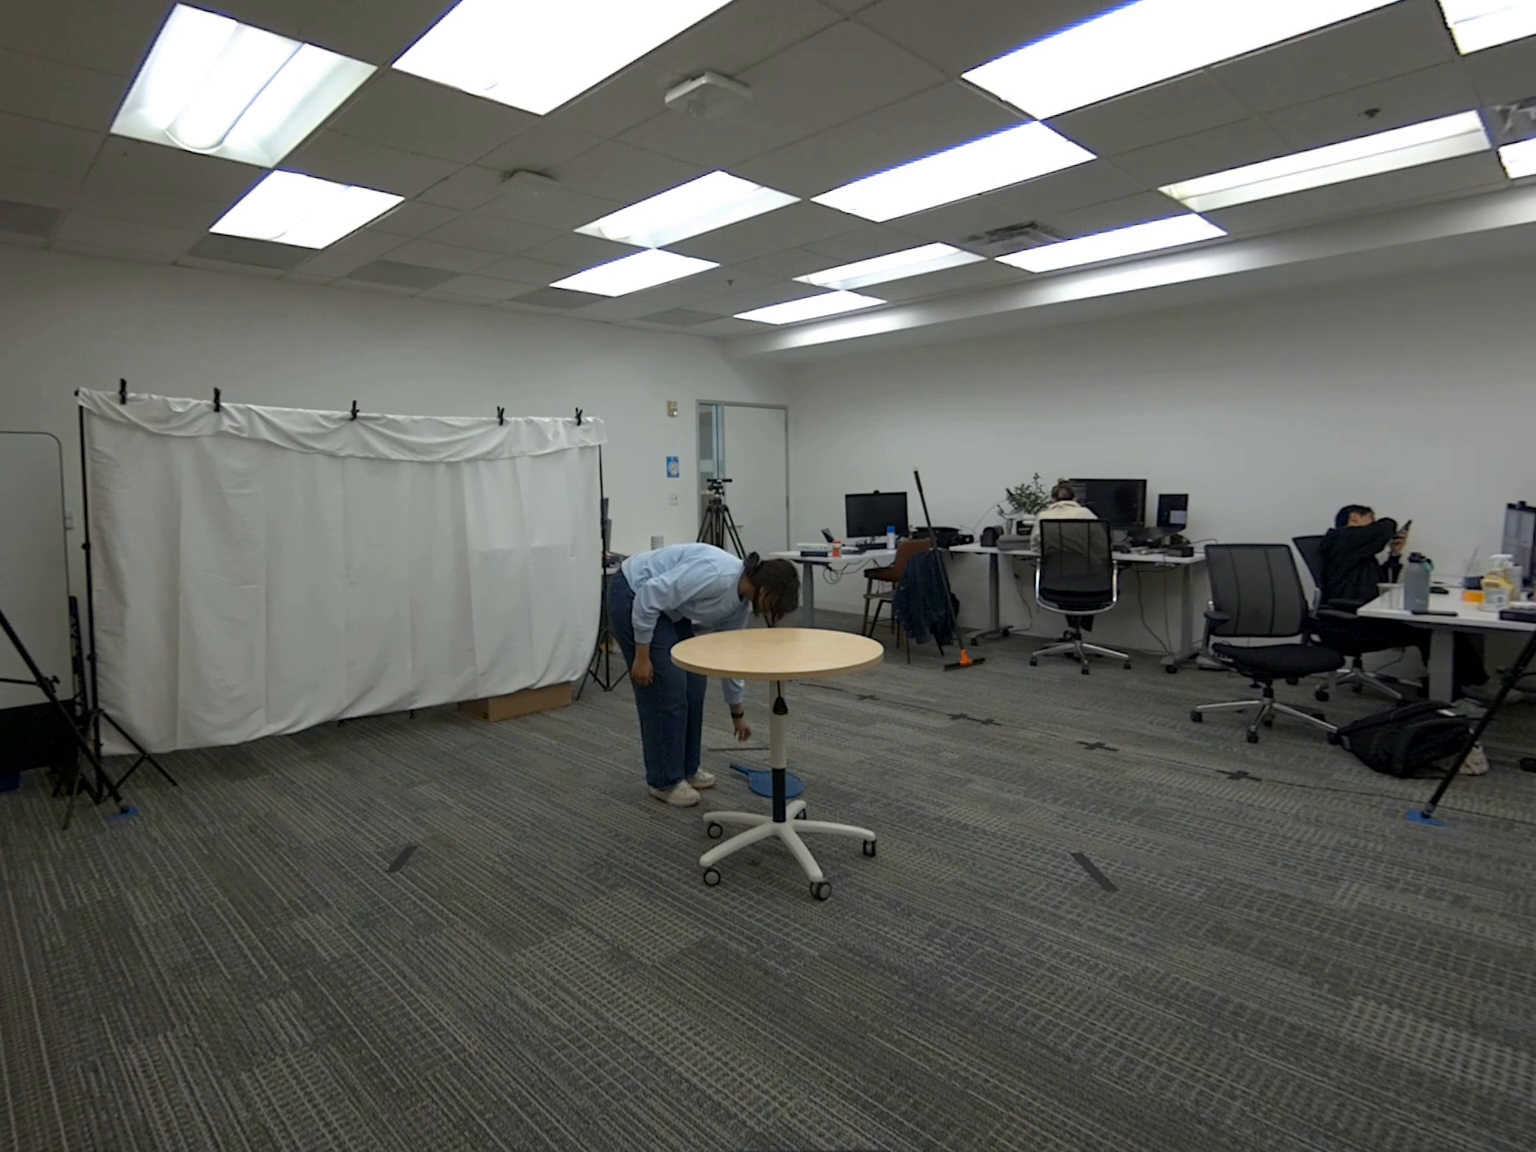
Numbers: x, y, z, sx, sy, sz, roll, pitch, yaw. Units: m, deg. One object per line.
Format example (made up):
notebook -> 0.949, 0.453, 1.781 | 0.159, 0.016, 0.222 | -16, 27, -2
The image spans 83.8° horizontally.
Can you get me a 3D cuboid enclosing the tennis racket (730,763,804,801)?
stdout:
tennis racket -> -0.022, 0.921, 3.895 | 0.209, 0.031, 0.447 | -12, 15, -42
